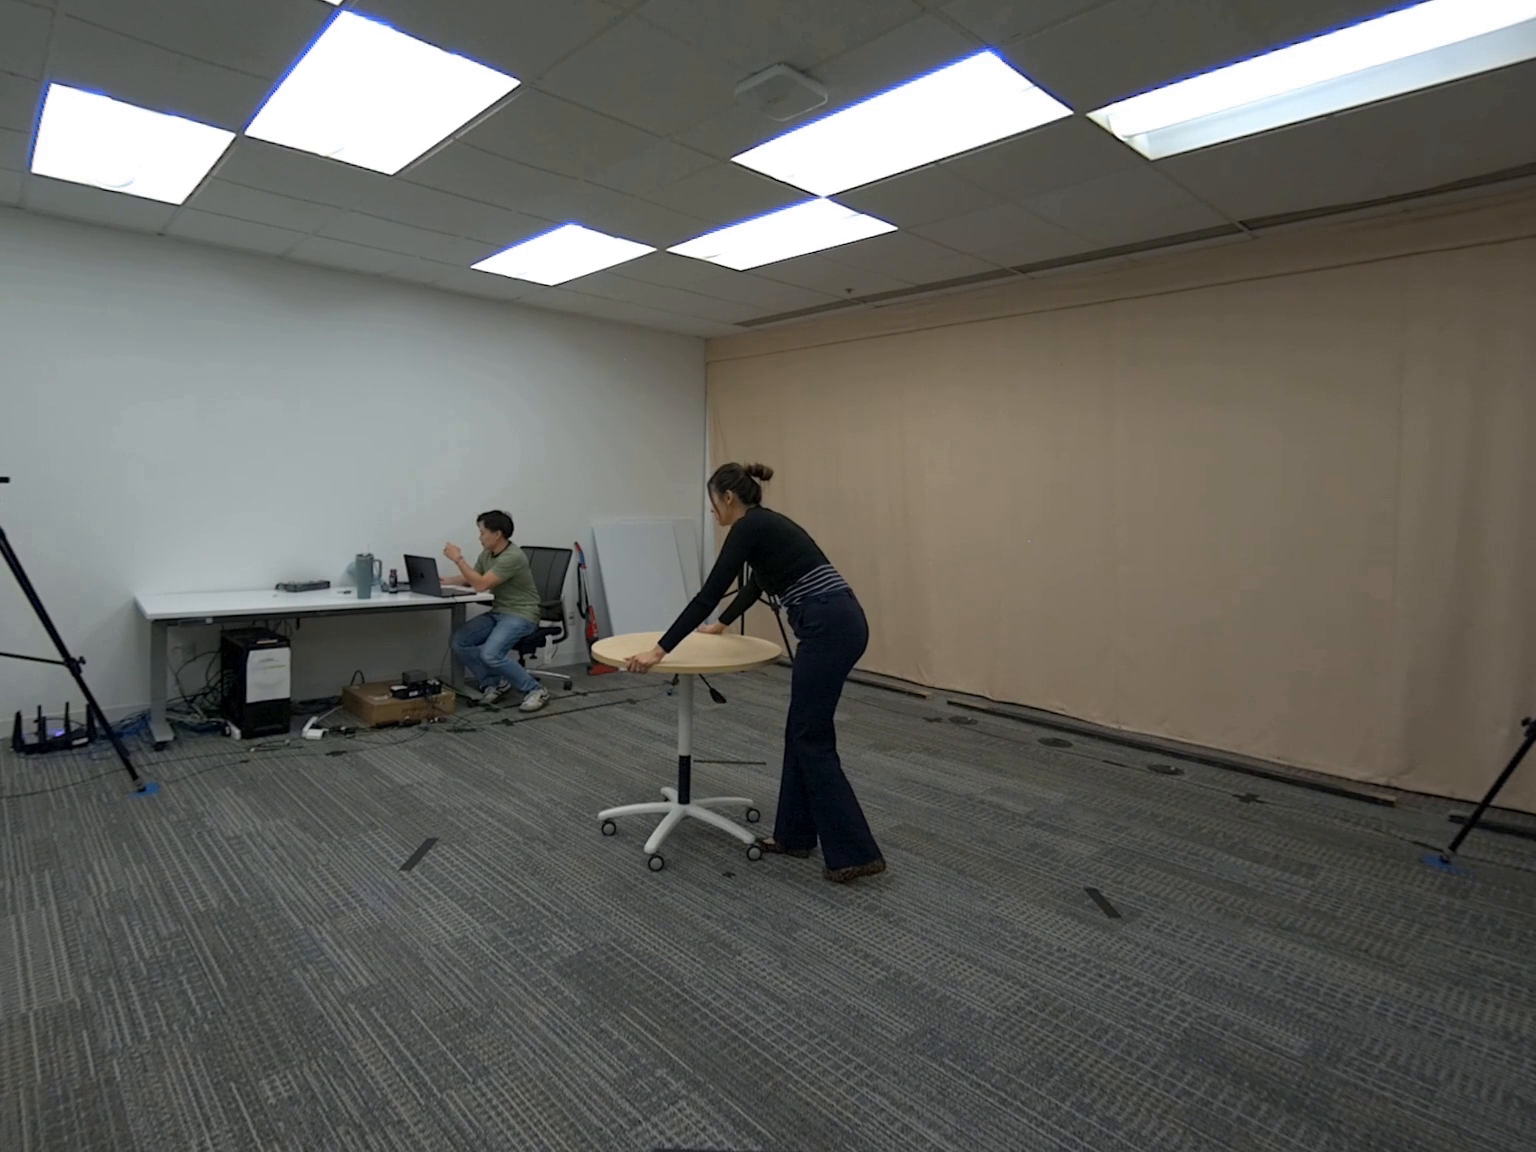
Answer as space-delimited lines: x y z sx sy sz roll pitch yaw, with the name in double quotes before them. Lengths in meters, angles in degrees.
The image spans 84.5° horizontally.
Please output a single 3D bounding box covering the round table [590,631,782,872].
"round table" -0.342 0.678 3.425 0.763 0.792 0.767 2 4 -1
